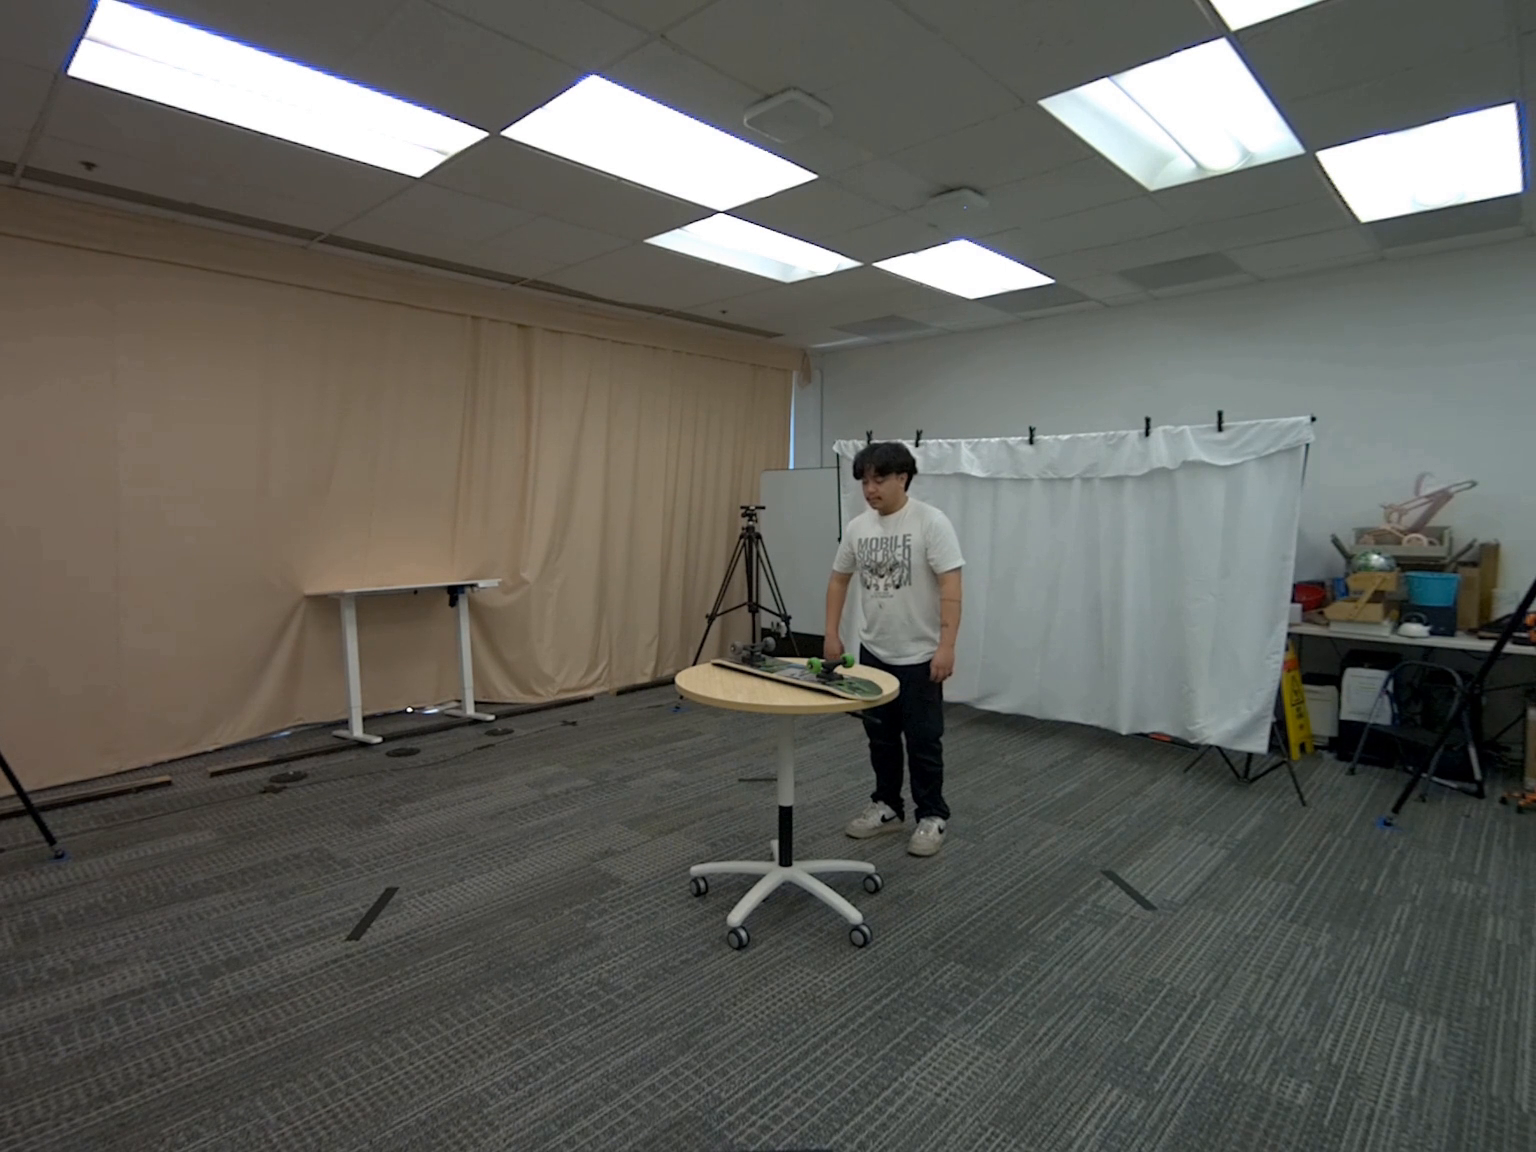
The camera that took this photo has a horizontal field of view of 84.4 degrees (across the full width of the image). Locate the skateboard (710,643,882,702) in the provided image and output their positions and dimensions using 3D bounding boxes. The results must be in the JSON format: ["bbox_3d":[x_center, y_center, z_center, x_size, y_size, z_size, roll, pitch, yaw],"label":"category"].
[{"bbox_3d":[0.067,0.309,2.906,0.187,0.110,0.811,-2,4,-38],"label":"skateboard"}]
